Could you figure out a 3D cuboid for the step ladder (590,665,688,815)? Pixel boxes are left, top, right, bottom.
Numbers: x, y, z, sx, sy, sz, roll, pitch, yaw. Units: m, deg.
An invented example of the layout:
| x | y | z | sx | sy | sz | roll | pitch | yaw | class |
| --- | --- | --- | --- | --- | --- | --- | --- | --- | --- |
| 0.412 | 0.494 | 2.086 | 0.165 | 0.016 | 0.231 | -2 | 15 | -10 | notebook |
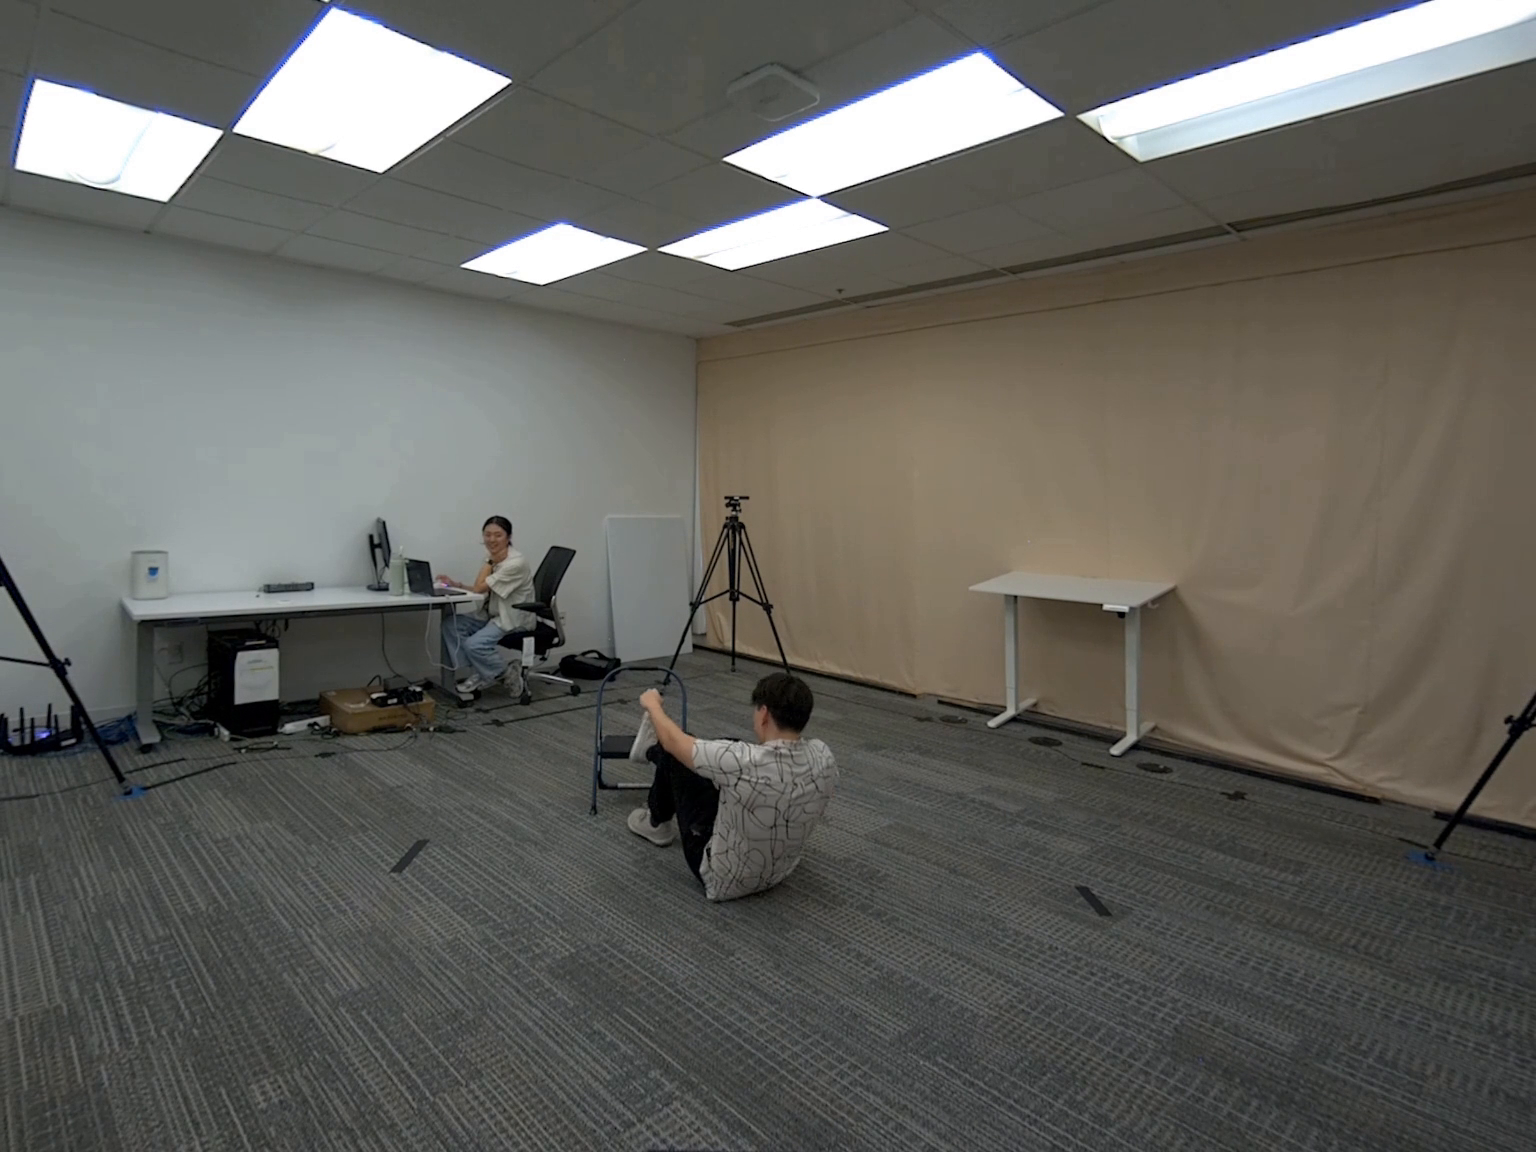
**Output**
| x | y | z | sx | sy | sz | roll | pitch | yaw | class |
| --- | --- | --- | --- | --- | --- | --- | --- | --- | --- |
| -0.586 | 0.728 | 3.837 | 0.429 | 0.604 | 0.352 | 1 | 4 | -6 | step ladder |
